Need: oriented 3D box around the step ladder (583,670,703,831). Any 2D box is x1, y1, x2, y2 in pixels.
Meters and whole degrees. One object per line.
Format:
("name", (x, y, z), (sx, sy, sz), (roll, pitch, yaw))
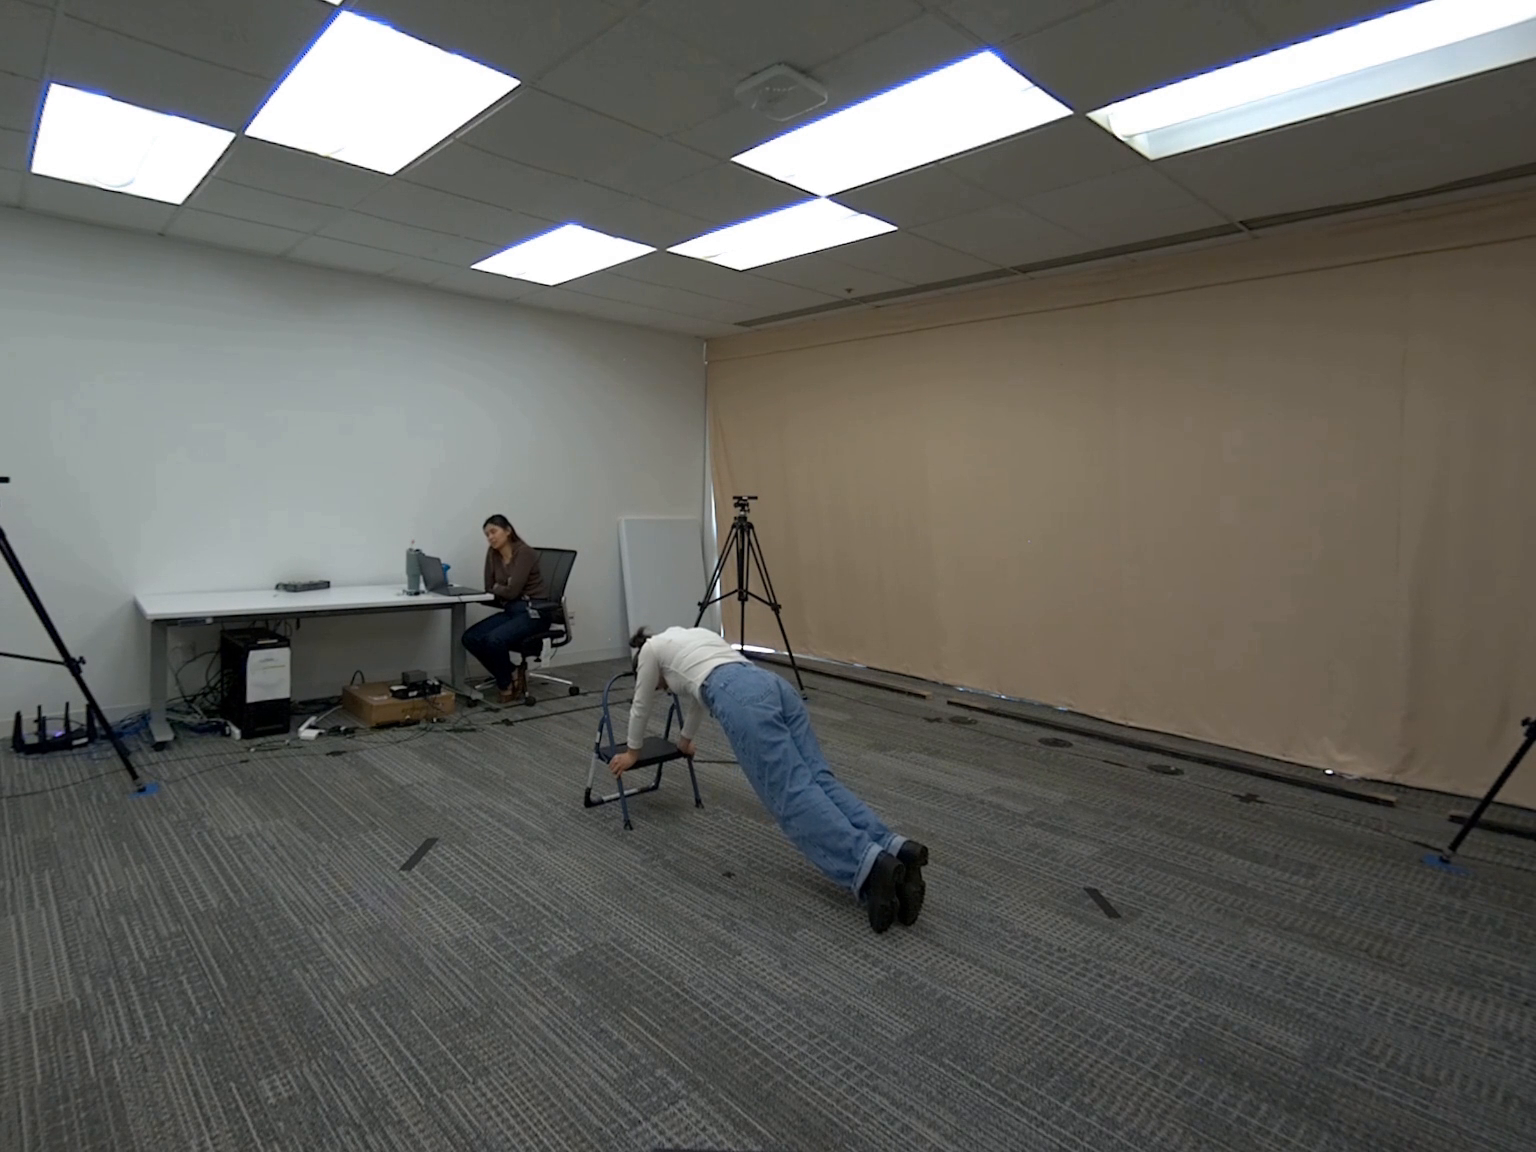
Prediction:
("step ladder", (-0.558, 0.737, 3.754), (0.358, 0.605, 0.421), (5, 5, 45))
